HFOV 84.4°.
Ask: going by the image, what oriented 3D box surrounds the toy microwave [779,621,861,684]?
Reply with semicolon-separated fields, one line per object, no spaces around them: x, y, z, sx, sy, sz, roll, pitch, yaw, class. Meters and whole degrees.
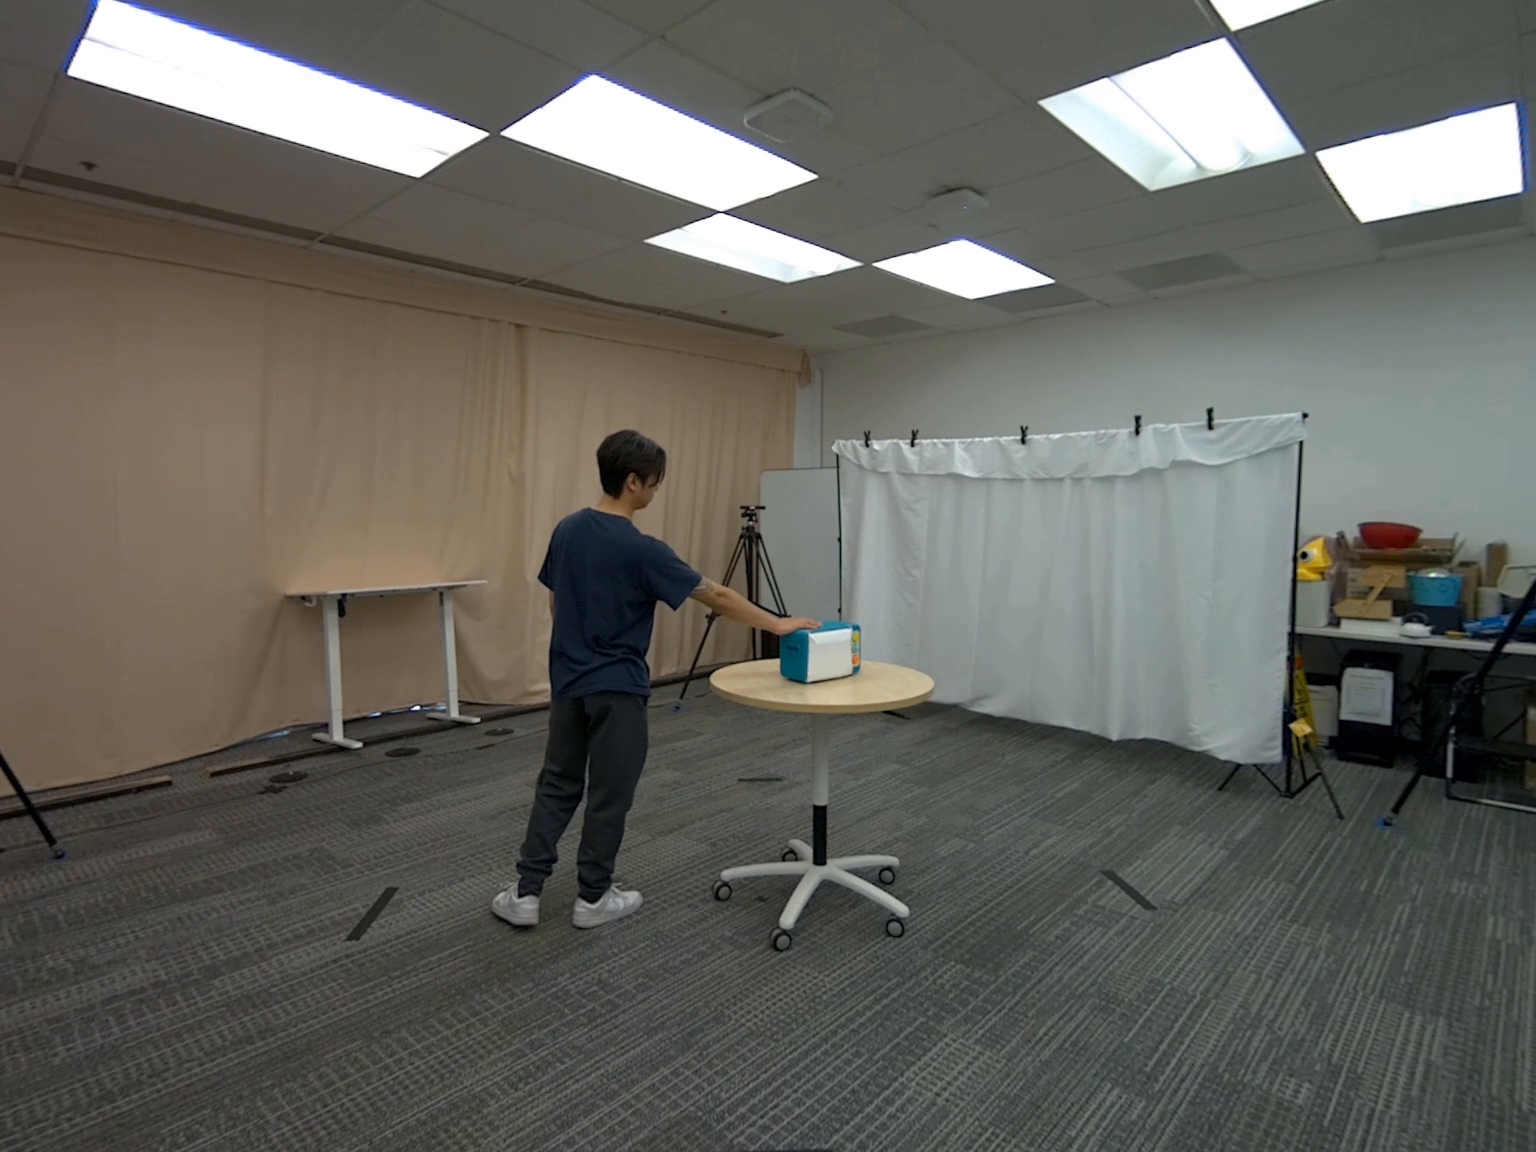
0.197;0.263;2.918;0.278;0.183;0.157;-4;6;-38;toy microwave
